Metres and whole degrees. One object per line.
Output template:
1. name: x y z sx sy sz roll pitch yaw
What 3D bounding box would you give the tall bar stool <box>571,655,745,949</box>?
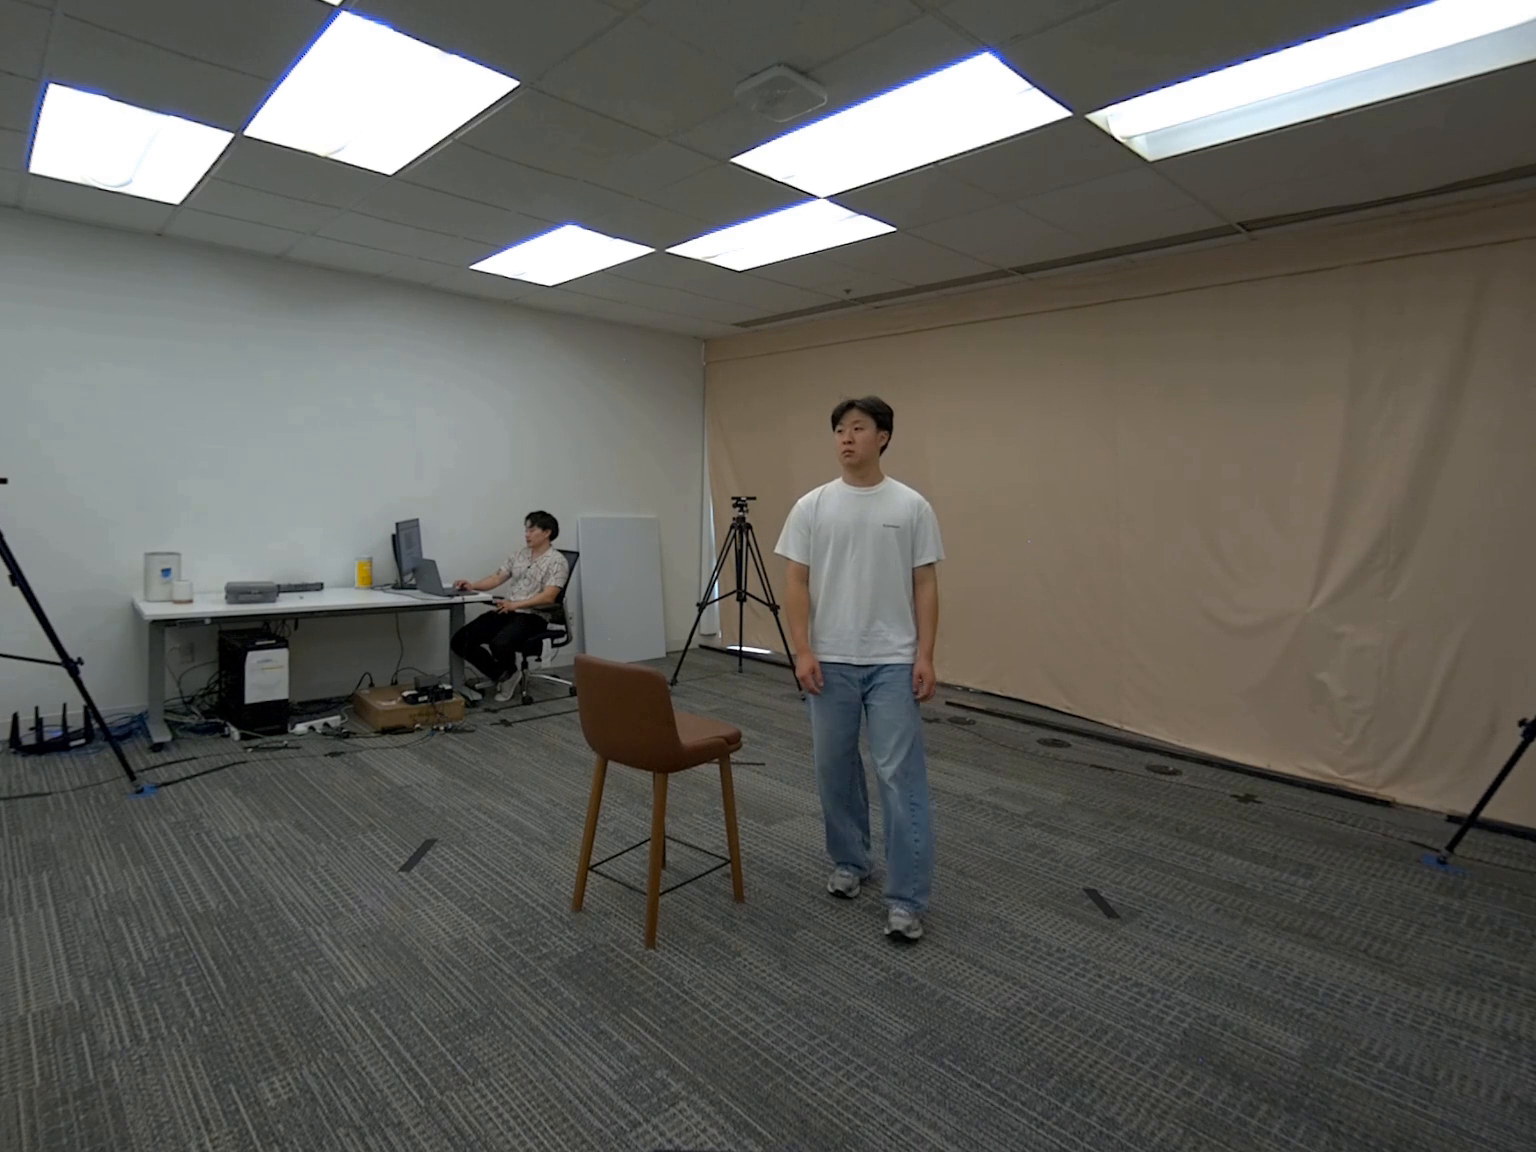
1. tall bar stool: -0.371 0.688 2.843 0.468 0.887 0.458 4 6 39
